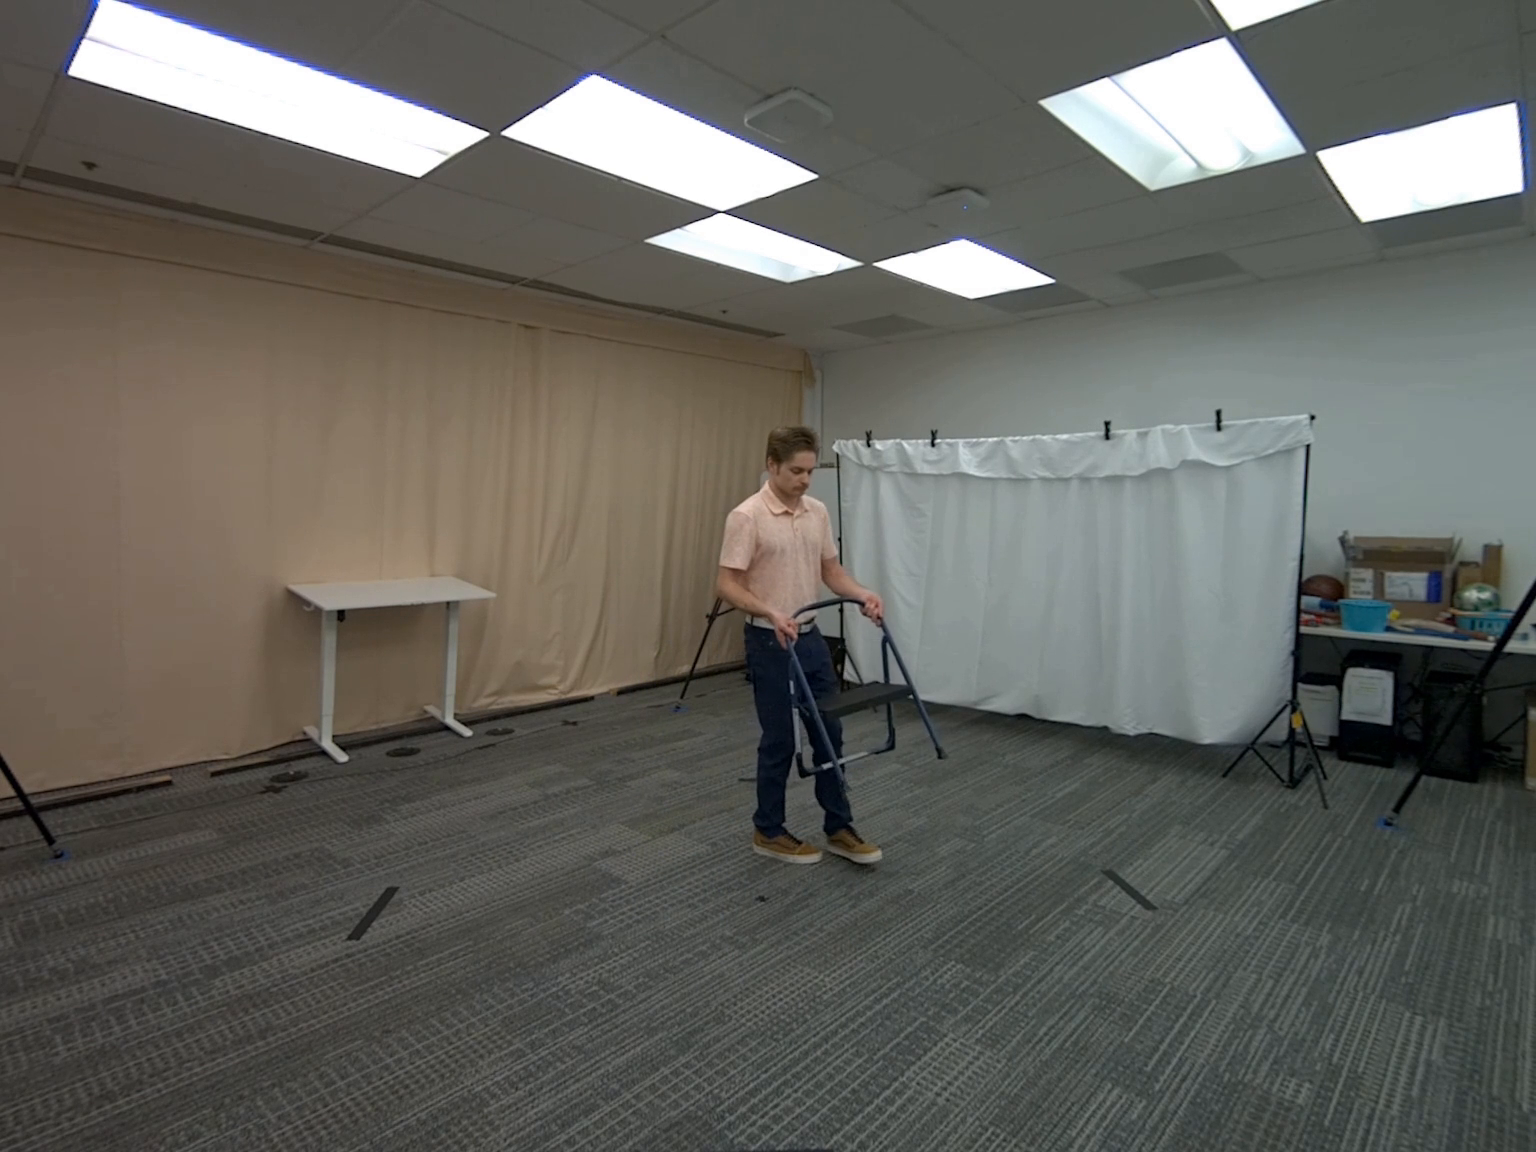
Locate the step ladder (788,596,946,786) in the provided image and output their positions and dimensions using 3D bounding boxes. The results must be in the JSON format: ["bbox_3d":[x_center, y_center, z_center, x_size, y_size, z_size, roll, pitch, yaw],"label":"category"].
[{"bbox_3d":[0.306,0.388,2.986,0.422,0.607,0.356,-11,-2,-25],"label":"step ladder"}]
